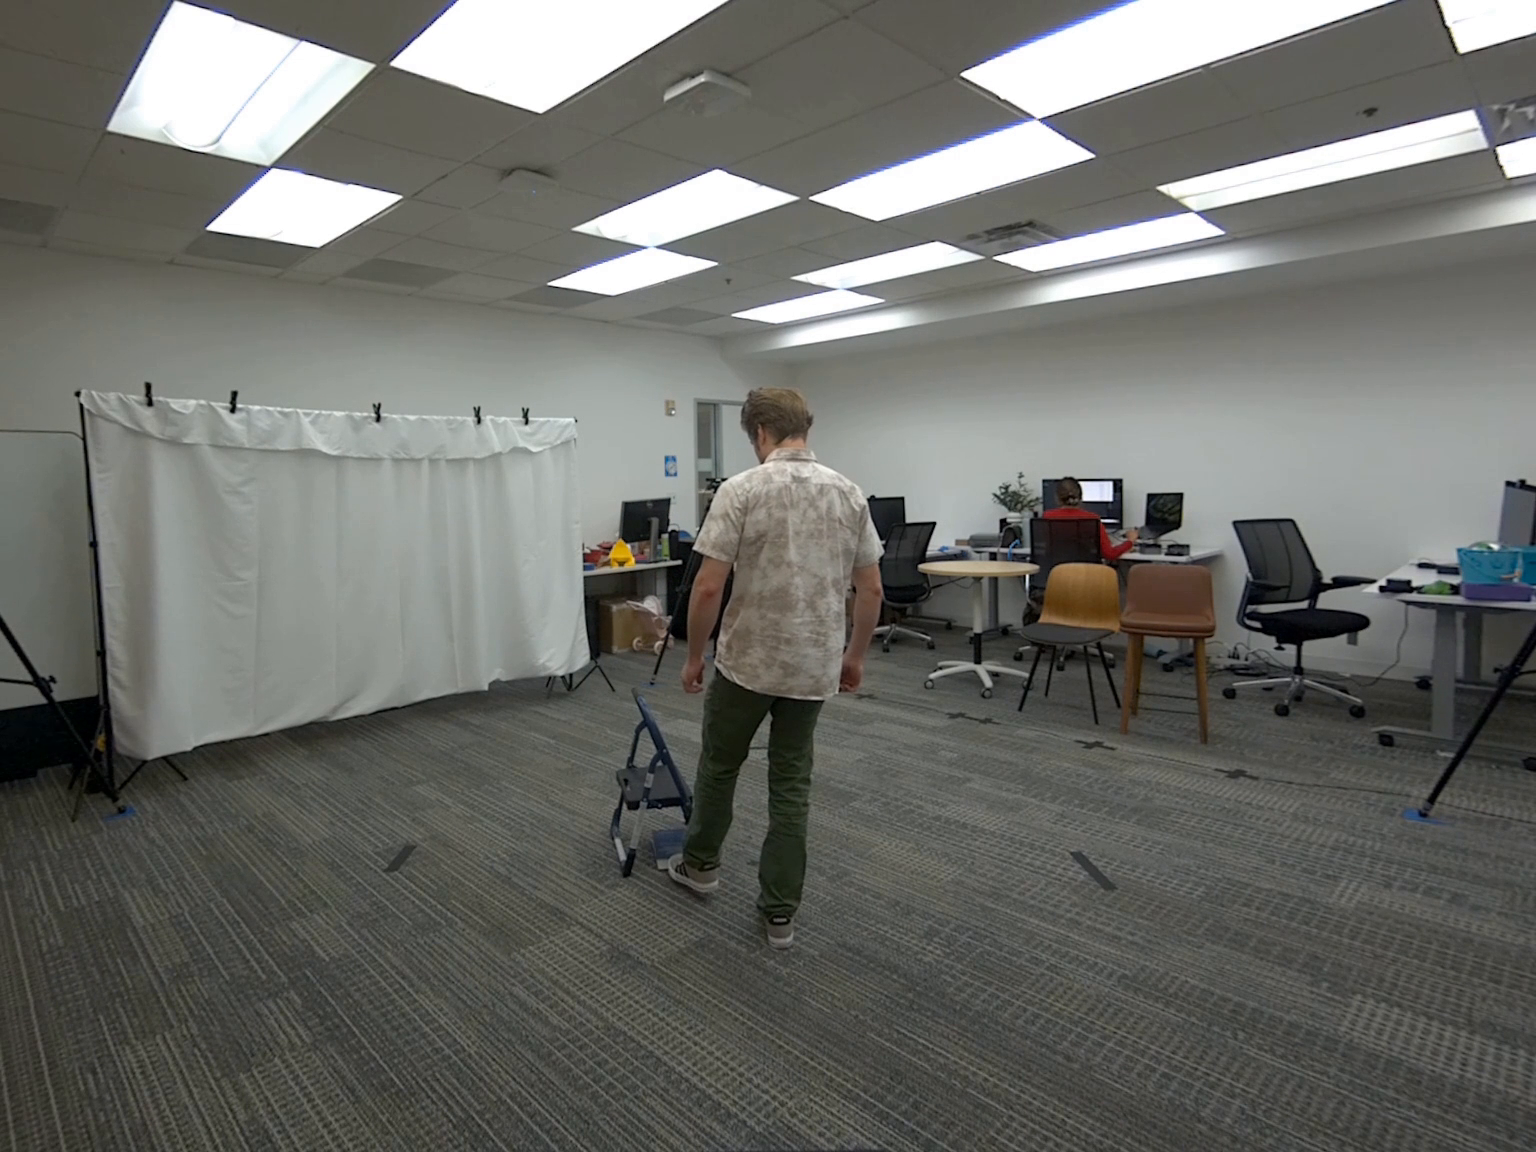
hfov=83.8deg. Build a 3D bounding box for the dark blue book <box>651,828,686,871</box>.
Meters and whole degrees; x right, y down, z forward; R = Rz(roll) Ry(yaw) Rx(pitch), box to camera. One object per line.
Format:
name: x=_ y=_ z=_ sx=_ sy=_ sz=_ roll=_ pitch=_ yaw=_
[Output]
dark blue book: x=-0.342 y=1.011 z=3.178 sx=0.162 sy=0.045 sz=0.249 roll=-2 pitch=8 yaw=-12
